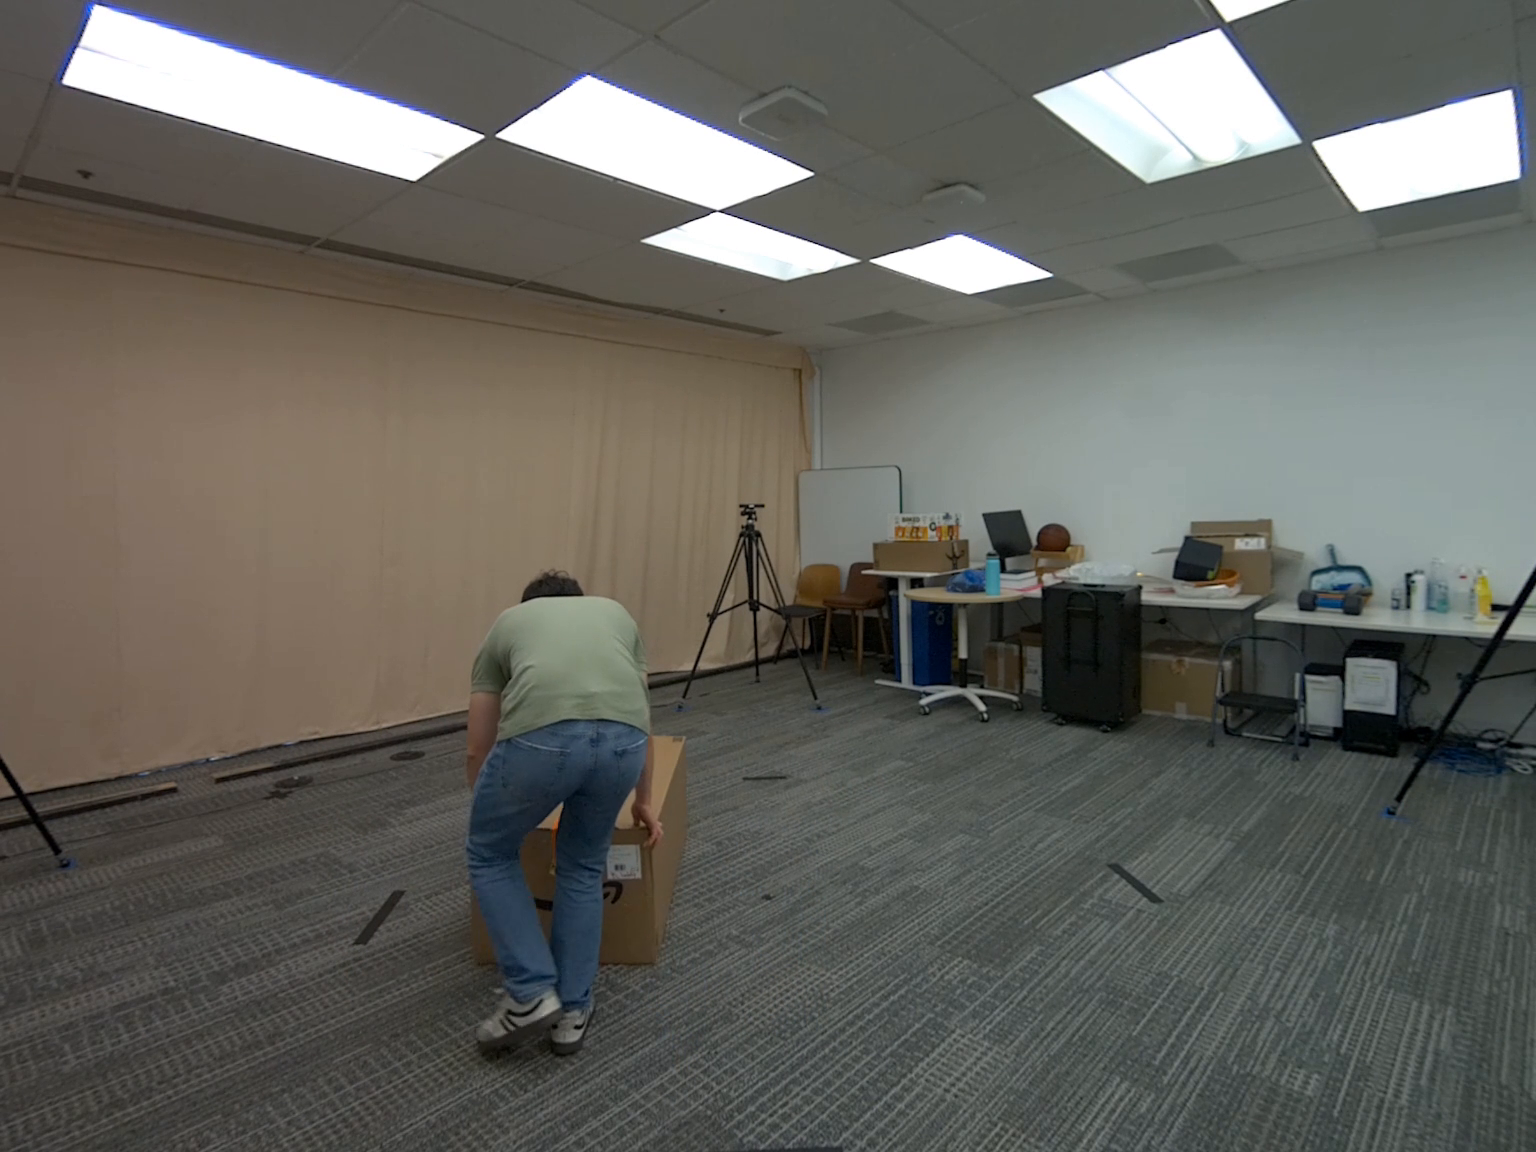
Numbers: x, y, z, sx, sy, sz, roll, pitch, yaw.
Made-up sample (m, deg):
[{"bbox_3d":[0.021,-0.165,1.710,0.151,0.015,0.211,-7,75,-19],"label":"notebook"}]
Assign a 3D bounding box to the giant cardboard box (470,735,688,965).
[{"bbox_3d":[-0.626,0.929,3.074,0.579,0.425,1.027,-2,5,0],"label":"giant cardboard box"}]
